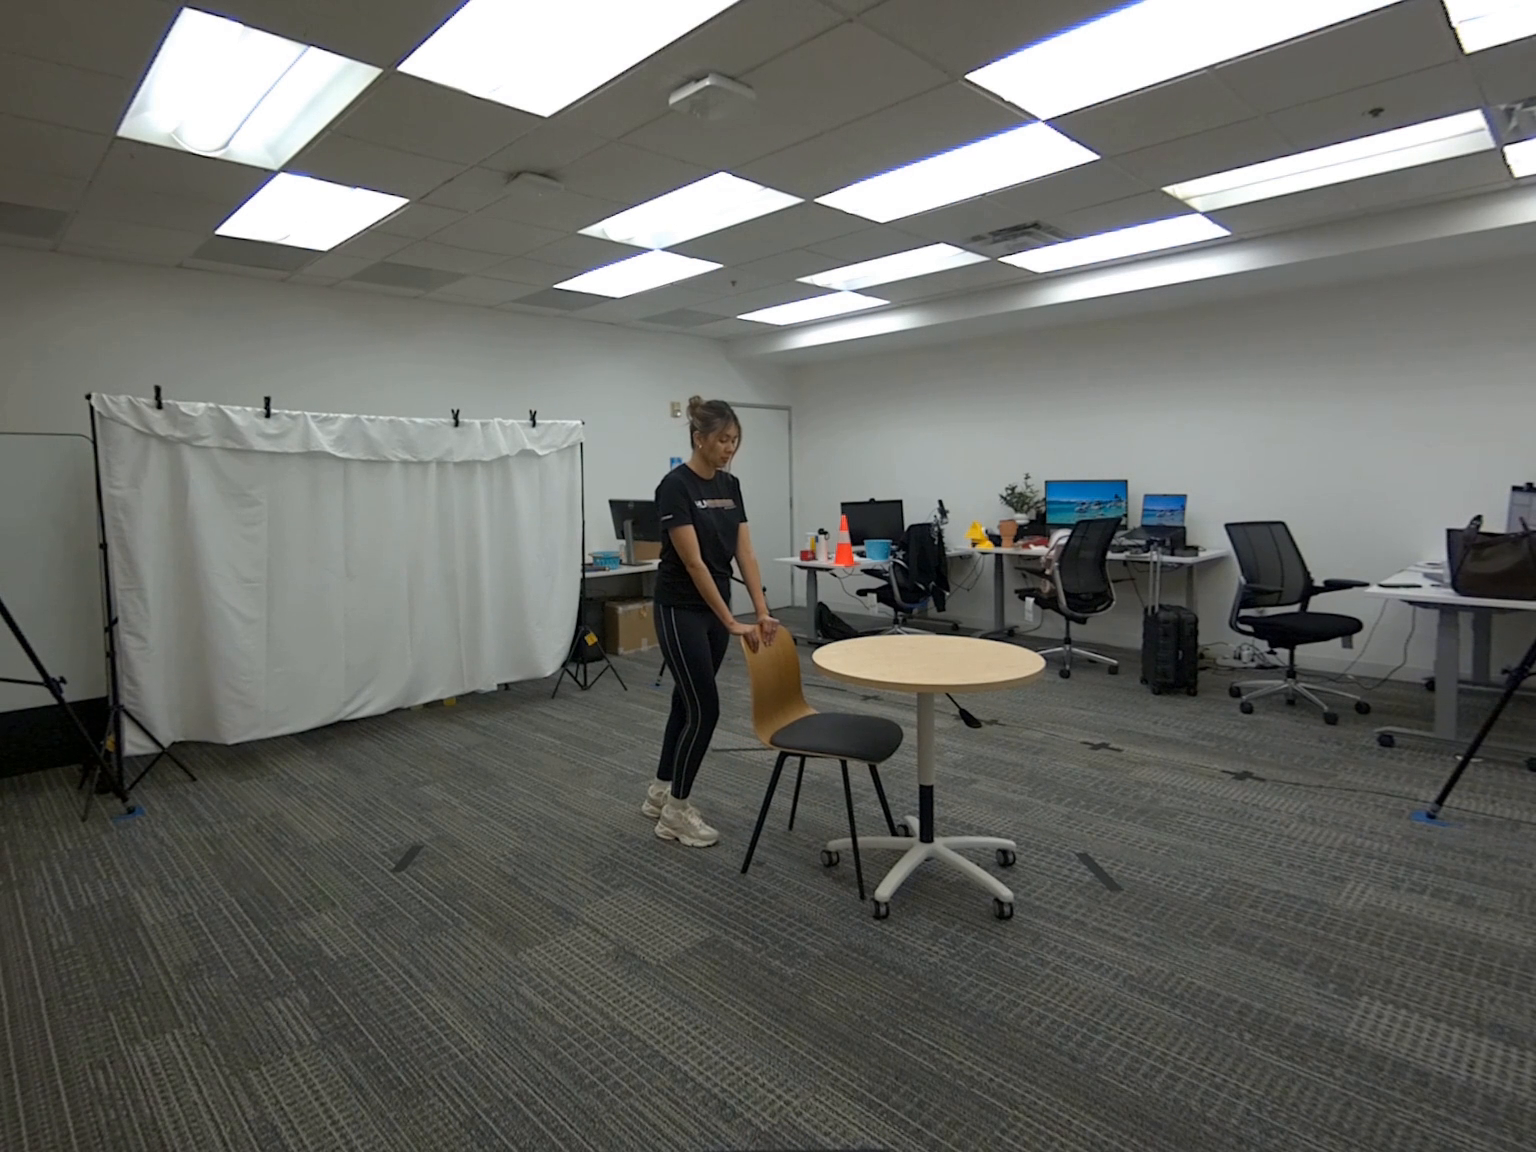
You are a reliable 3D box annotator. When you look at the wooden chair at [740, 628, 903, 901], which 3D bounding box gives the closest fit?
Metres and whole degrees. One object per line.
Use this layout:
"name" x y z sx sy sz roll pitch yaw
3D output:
"wooden chair" 0.200 0.616 3.089 0.535 0.876 0.468 -3 2 27
